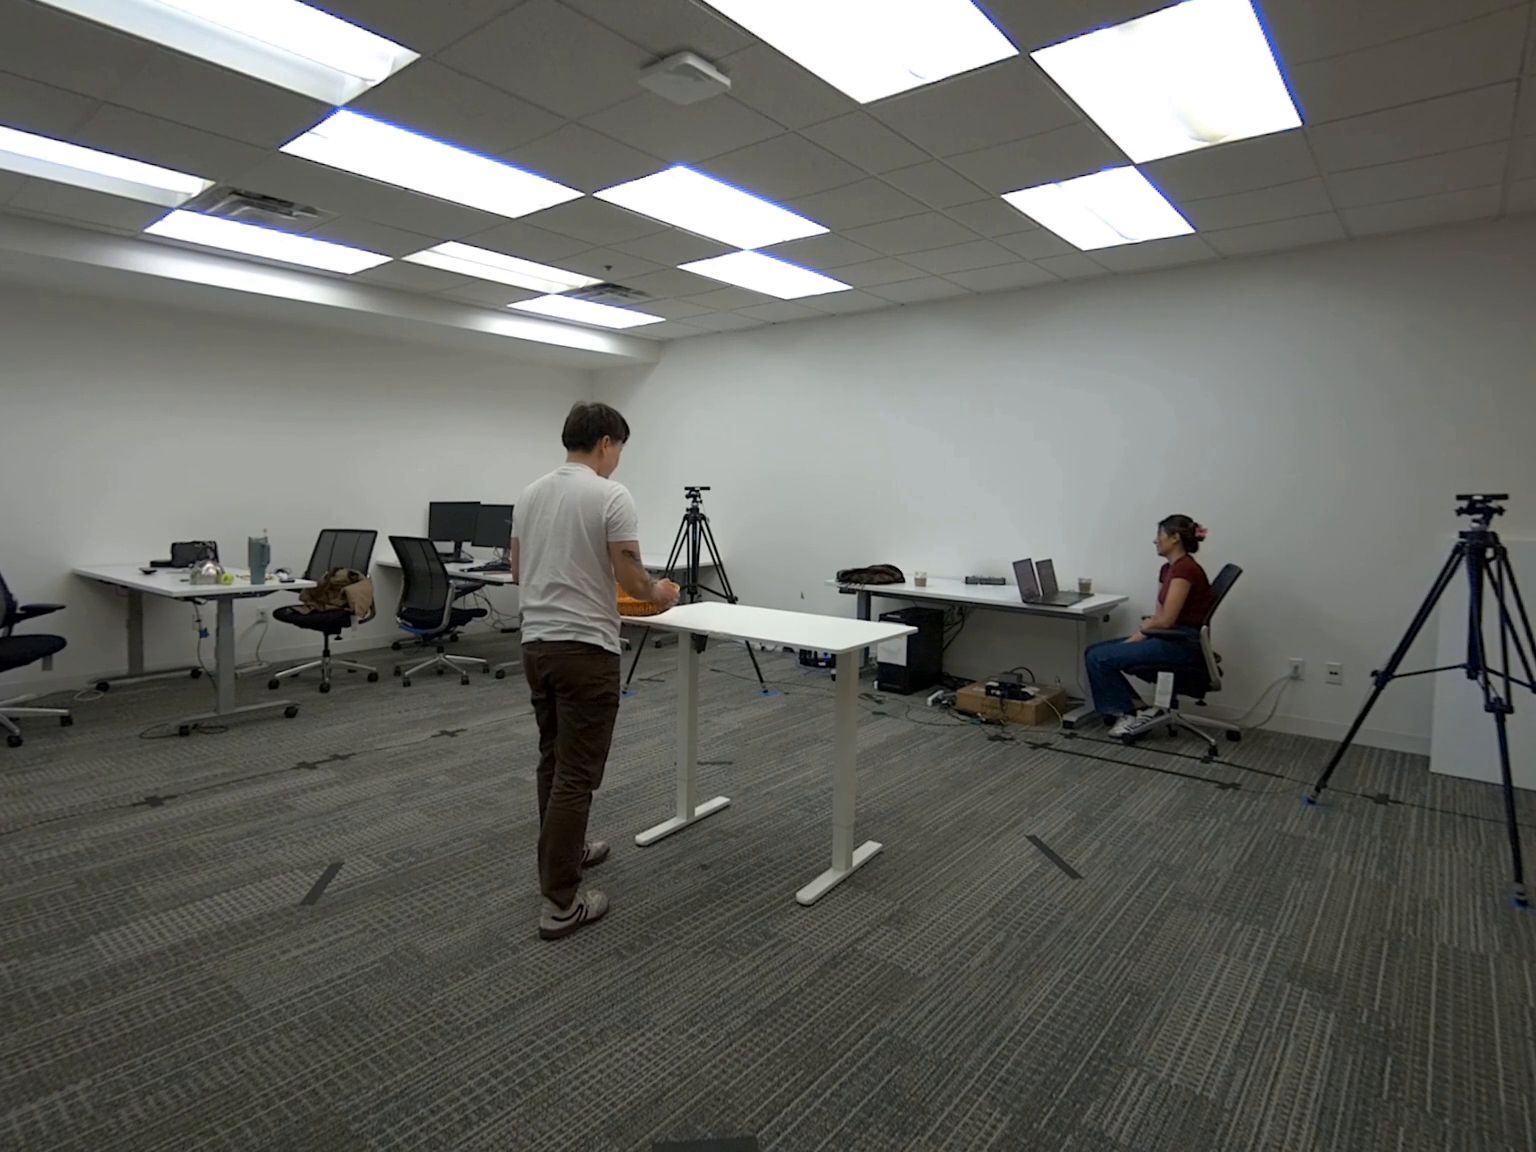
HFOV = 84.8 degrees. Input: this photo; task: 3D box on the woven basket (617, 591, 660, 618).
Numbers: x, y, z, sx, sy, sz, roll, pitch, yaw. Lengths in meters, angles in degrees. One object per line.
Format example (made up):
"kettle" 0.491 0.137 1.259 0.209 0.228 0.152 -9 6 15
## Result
"woven basket" -0.517 0.093 3.145 0.361 0.072 0.248 3 17 34
